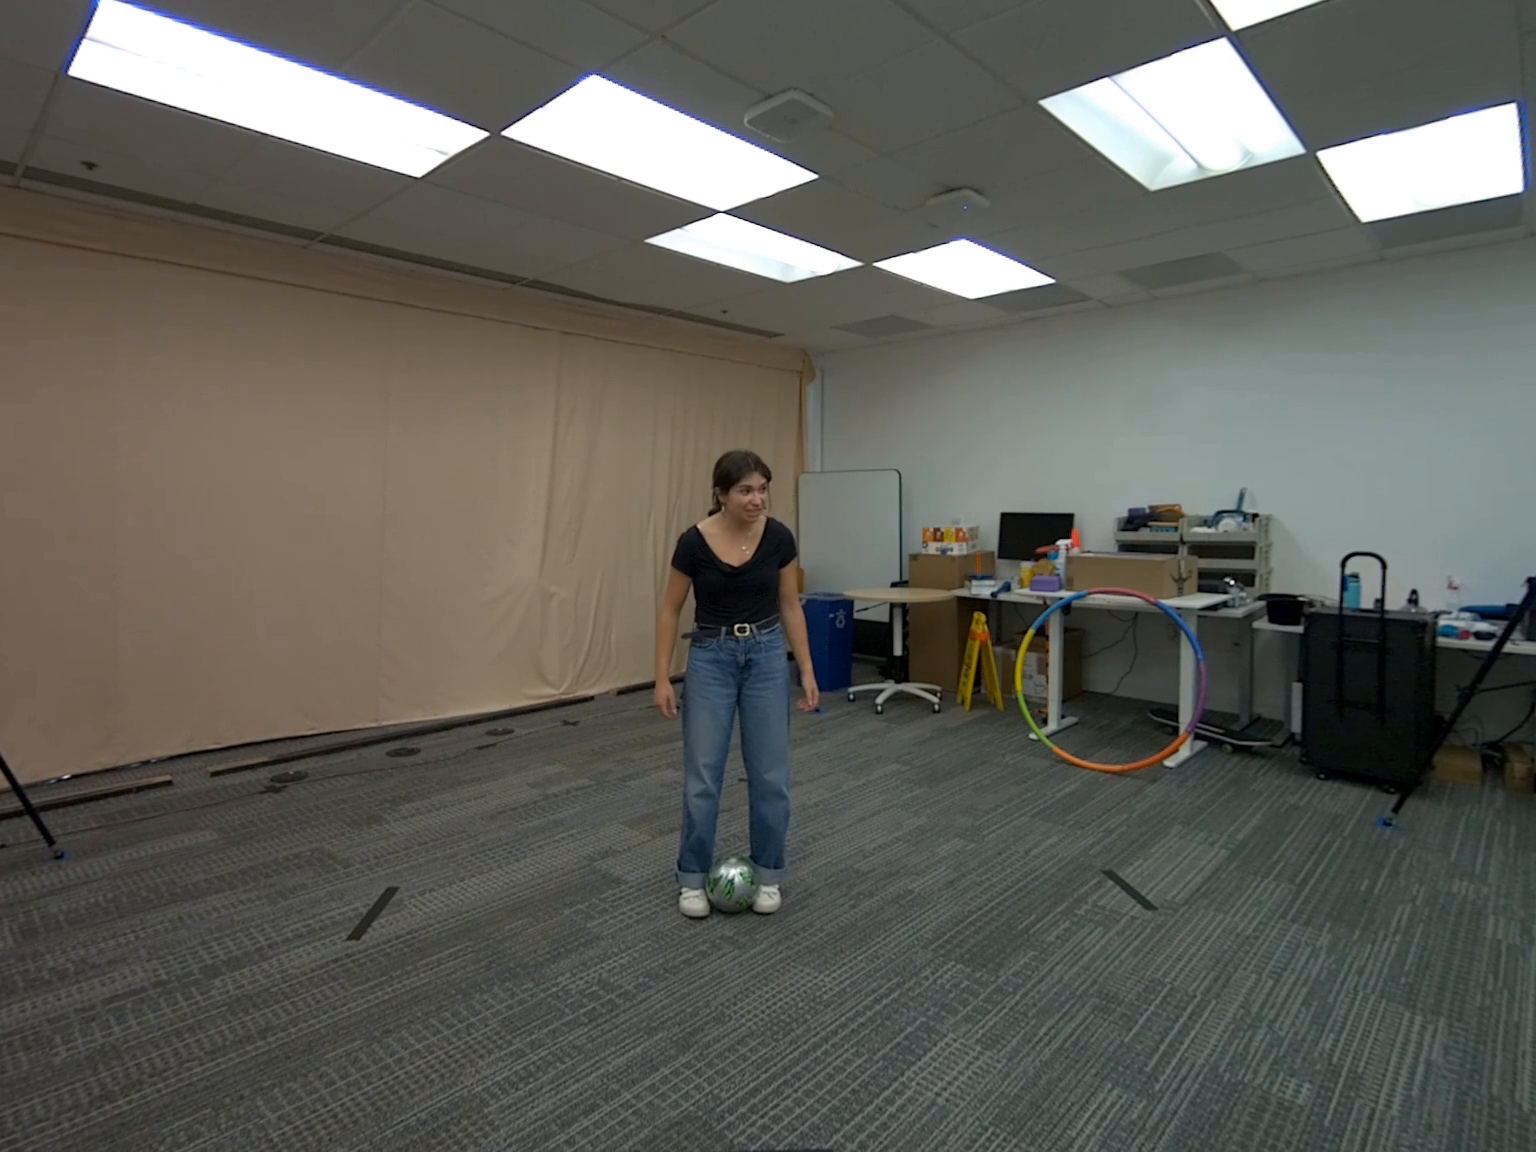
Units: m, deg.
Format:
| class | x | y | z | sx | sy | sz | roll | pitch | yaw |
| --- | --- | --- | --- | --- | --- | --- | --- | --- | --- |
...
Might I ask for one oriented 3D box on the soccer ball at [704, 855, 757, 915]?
| class | x | y | z | sx | sy | sz | roll | pitch | yaw |
| --- | --- | --- | --- | --- | --- | --- | --- | --- | --- |
| soccer ball | -0.112 | 1.063 | 2.897 | 0.187 | 0.187 | 0.188 | 0 | 4 | -2 |
